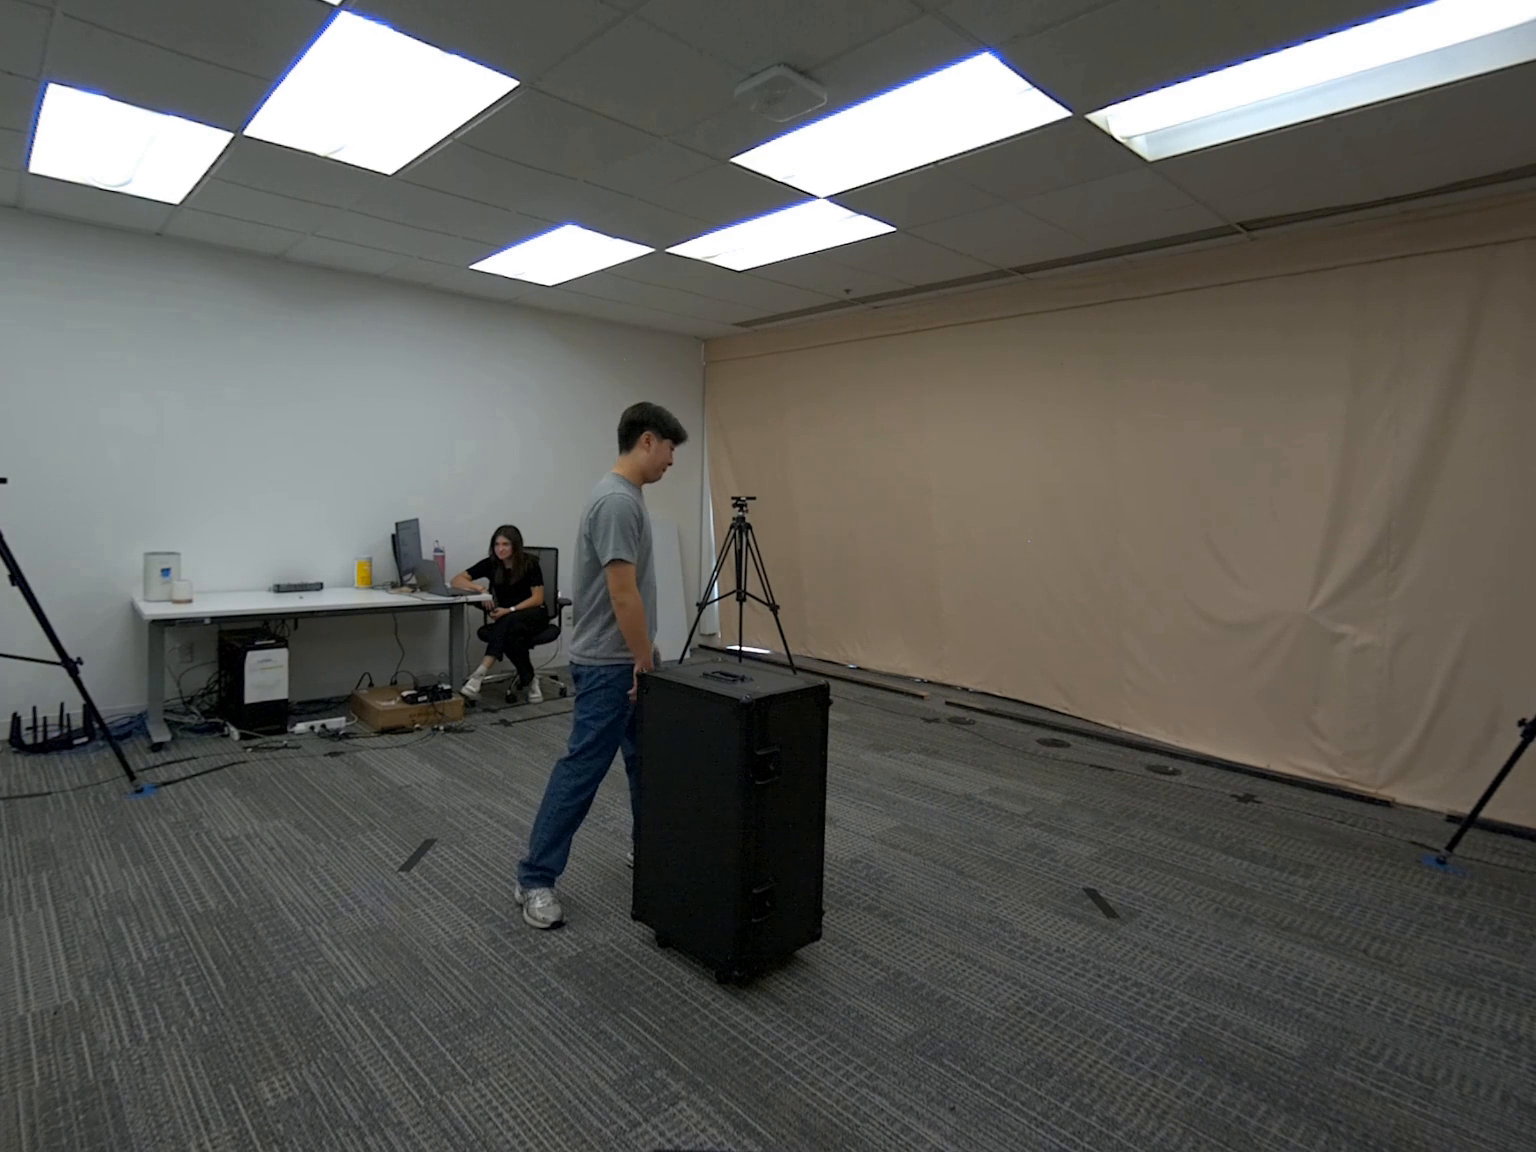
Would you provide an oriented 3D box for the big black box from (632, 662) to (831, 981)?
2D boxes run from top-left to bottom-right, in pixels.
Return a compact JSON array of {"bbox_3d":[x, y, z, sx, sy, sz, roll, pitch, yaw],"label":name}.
[{"bbox_3d":[-0.120,0.731,2.569,0.534,0.860,0.387,5,4,44],"label":"big black box"}]
